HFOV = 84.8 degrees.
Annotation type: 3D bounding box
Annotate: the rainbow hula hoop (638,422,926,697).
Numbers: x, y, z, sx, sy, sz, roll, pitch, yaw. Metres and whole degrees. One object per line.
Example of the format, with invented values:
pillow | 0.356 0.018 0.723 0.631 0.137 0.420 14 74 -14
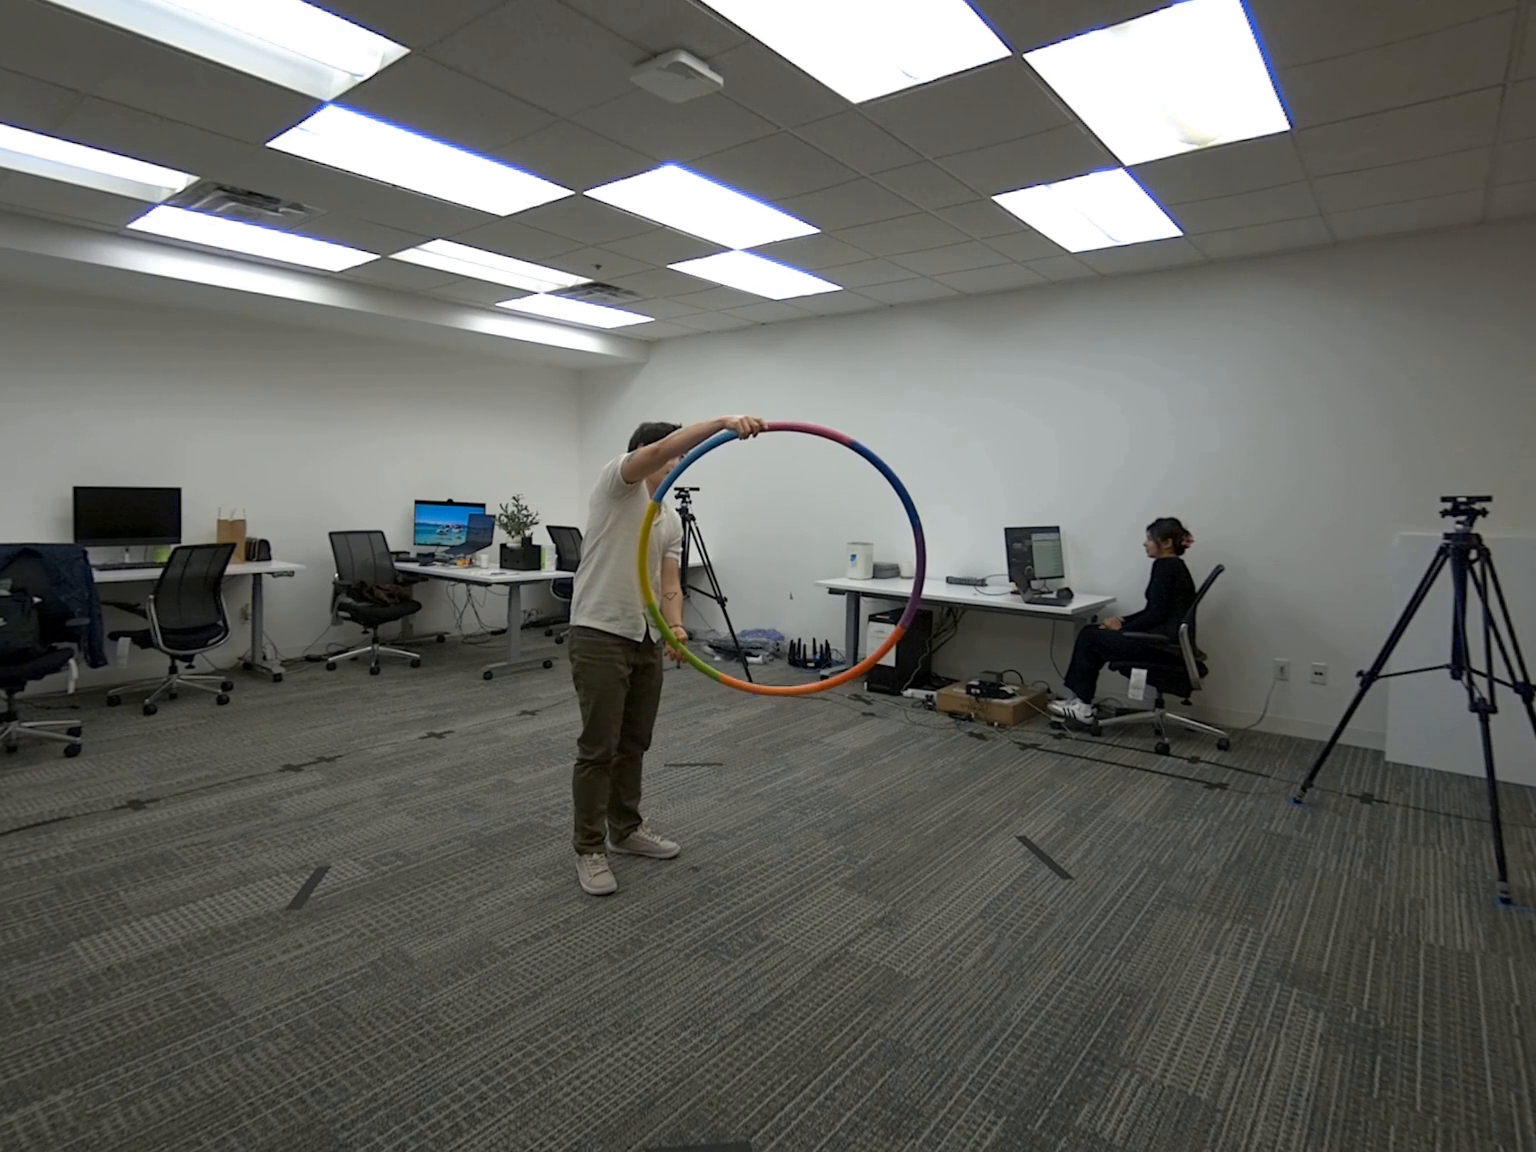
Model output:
rainbow hula hoop | 0.037 -0.043 2.908 0.980 0.964 0.036 1 16 2
